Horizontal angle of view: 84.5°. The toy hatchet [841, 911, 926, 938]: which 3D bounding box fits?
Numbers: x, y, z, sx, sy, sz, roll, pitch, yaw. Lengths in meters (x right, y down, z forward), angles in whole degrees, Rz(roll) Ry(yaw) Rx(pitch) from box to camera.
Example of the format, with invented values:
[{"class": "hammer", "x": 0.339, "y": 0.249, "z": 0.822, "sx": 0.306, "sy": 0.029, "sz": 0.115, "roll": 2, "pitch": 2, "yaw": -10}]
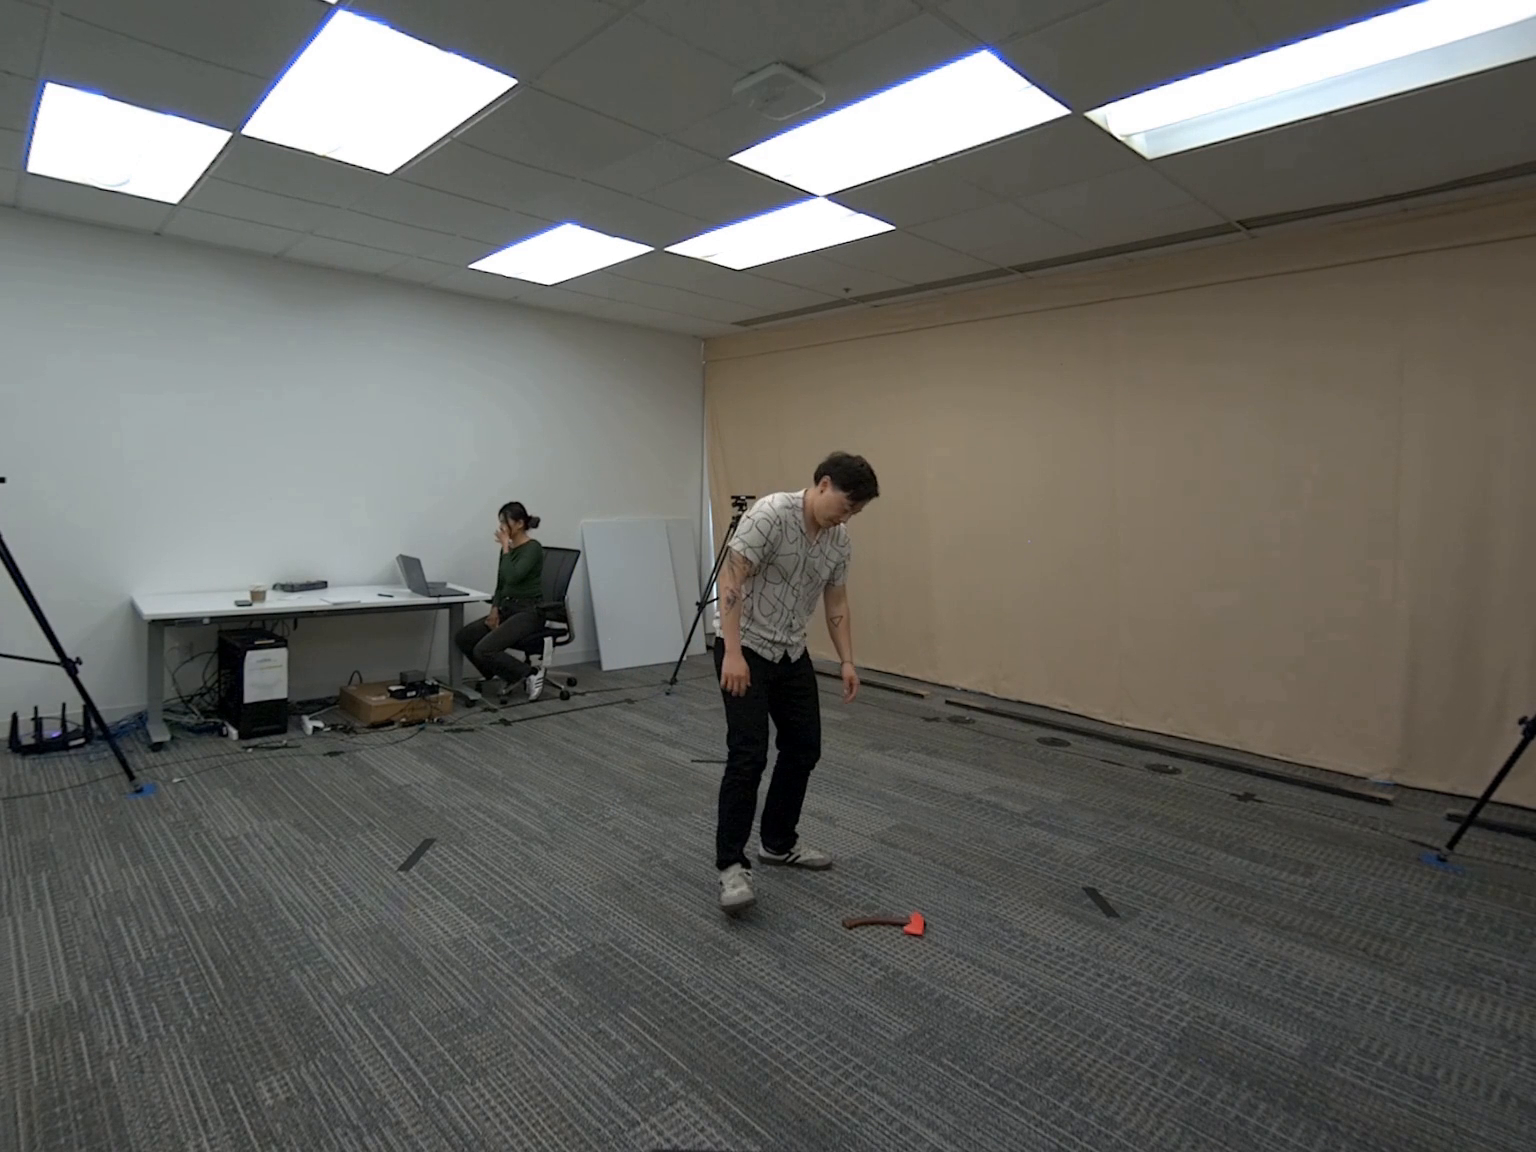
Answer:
[{"class": "toy hatchet", "x": 0.380, "y": 1.139, "z": 2.722, "sx": 0.267, "sy": 0.029, "sz": 0.133, "roll": -2, "pitch": 10, "yaw": -14}]
